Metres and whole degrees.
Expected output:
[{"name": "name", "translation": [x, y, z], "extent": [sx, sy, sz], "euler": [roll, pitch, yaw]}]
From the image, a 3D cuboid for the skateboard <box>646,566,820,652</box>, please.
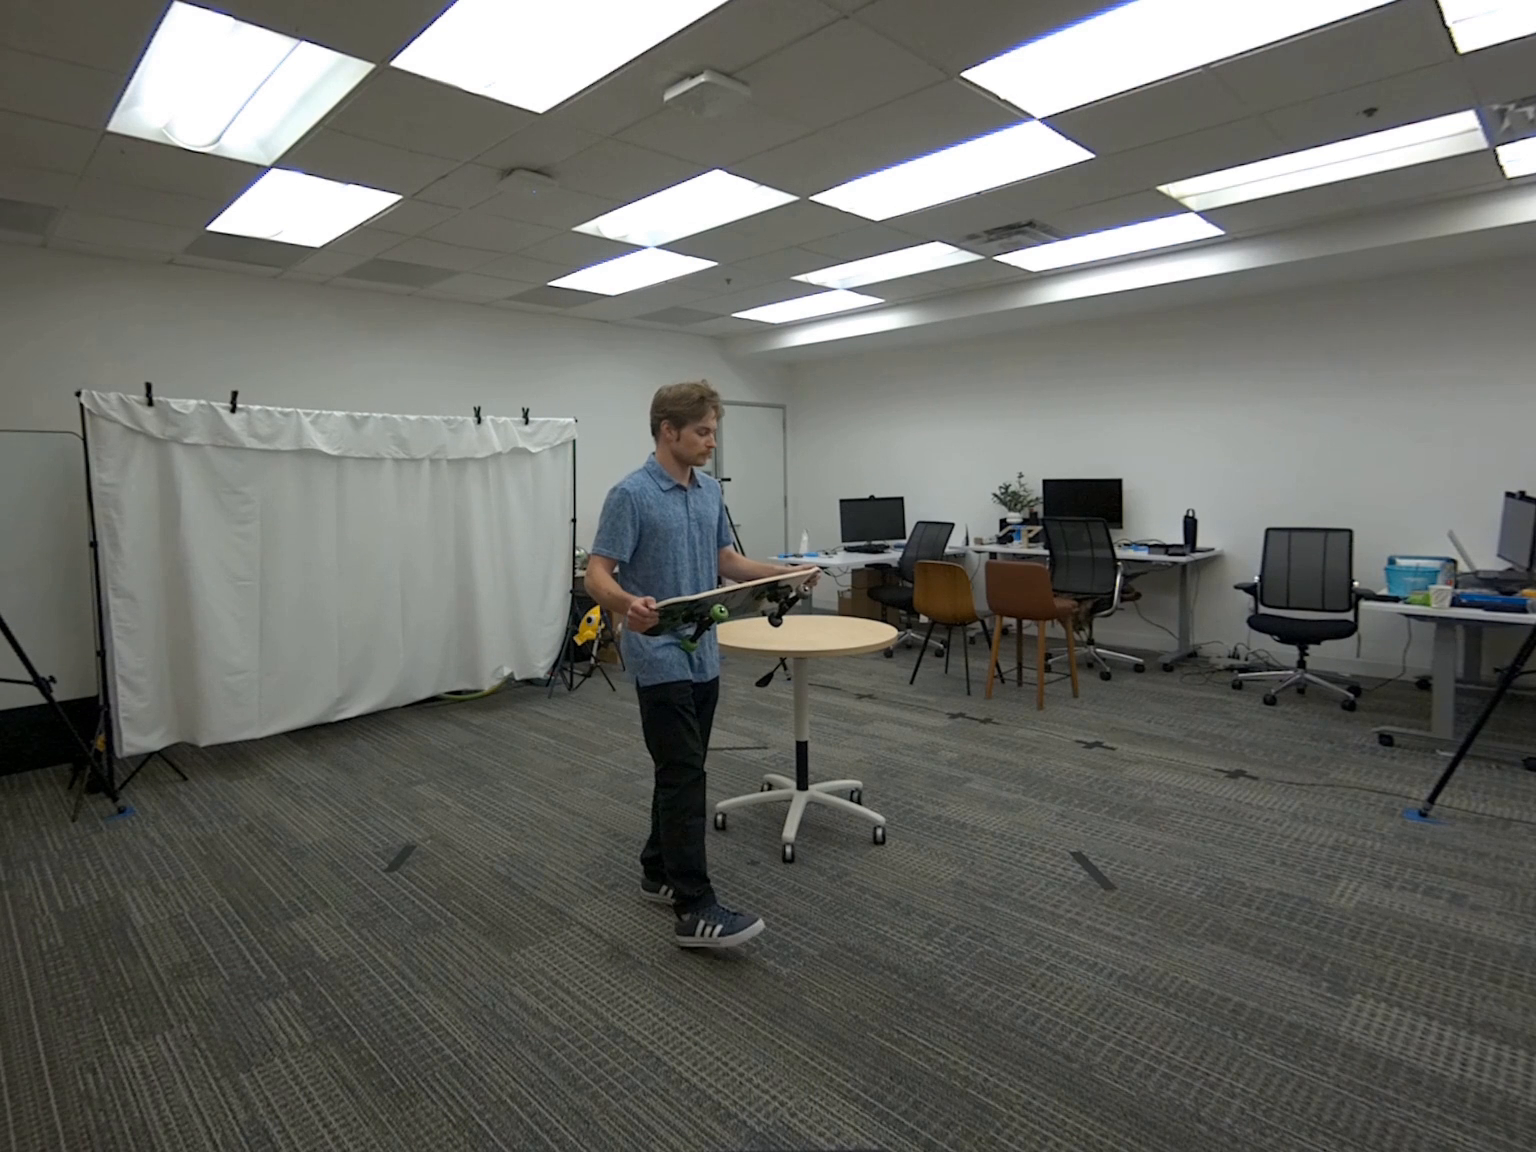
[{"name": "skateboard", "translation": [-0.078, 0.108, 2.570], "extent": [0.767, 0.113, 0.193], "euler": [-11, -28, -49]}]
